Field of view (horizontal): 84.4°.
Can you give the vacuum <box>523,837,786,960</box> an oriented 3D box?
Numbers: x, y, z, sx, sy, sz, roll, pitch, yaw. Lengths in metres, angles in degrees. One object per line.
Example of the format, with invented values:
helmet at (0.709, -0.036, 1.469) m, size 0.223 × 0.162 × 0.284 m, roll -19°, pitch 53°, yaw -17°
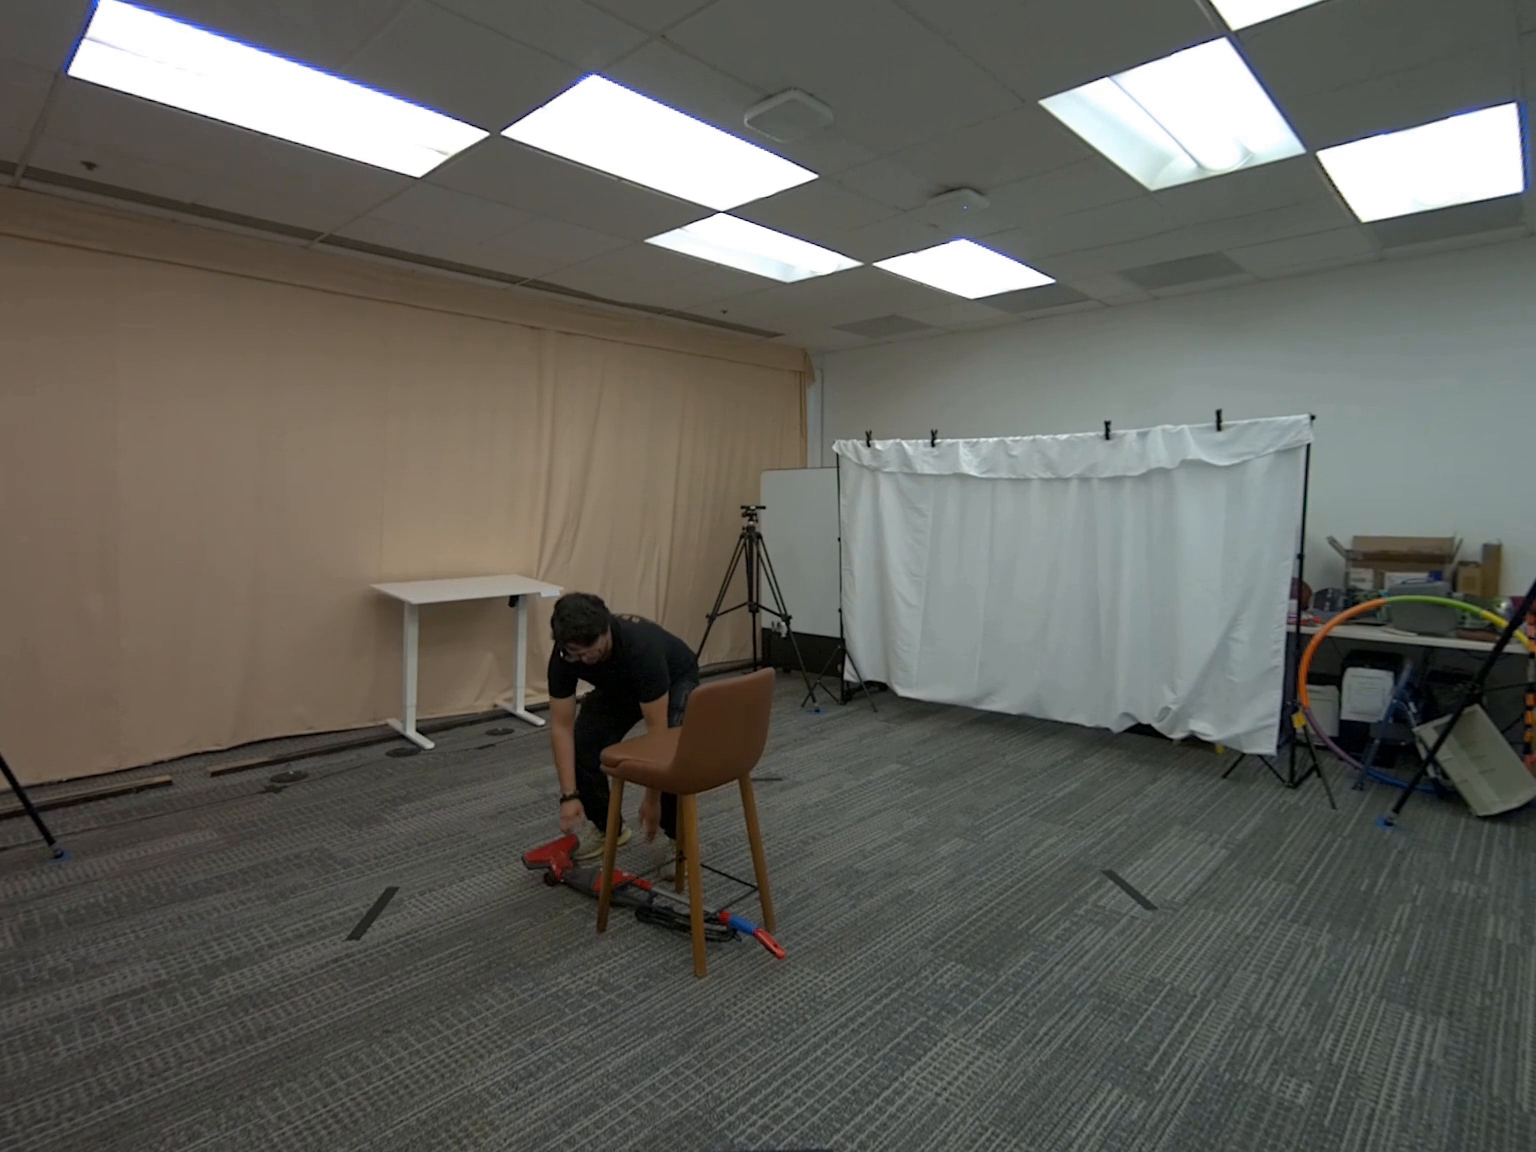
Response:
vacuum at (-0.385, 1.108, 2.820) m, size 1.084 × 0.143 × 0.245 m, roll 4°, pitch 8°, yaw 40°
